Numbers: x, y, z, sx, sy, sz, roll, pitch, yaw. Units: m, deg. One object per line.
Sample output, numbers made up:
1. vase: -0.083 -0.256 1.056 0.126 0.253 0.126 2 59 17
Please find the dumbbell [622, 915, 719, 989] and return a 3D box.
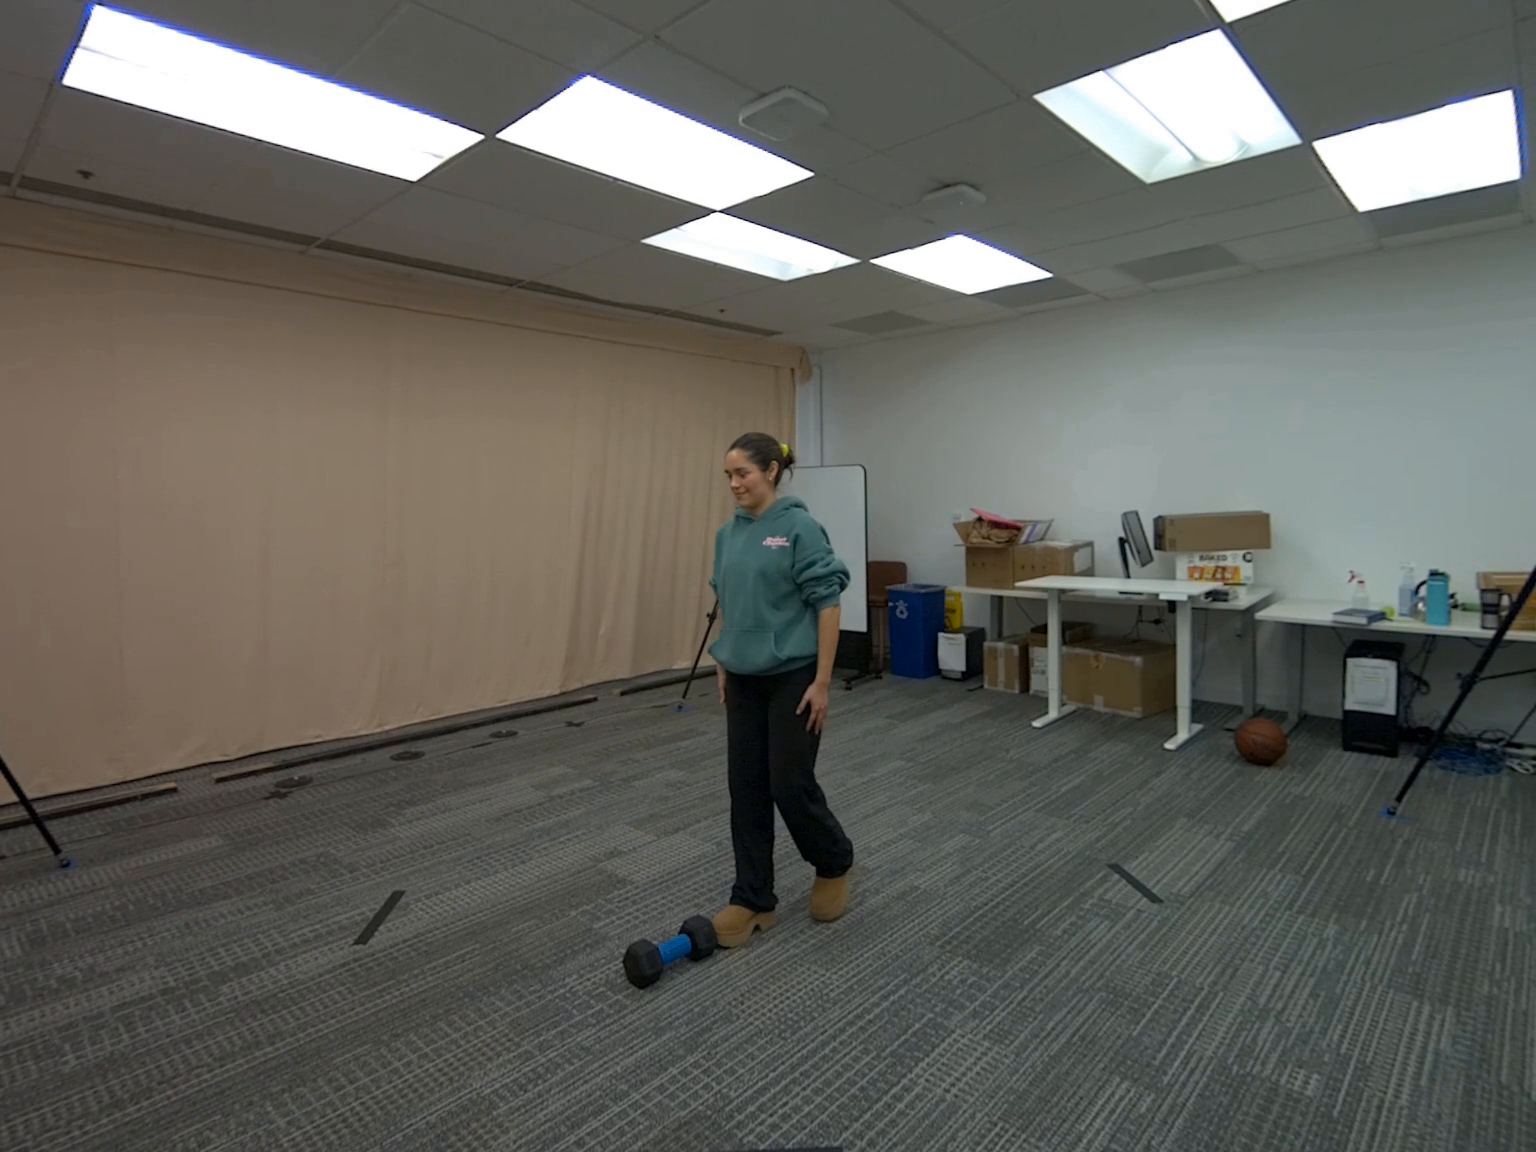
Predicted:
1. dumbbell: -0.293 1.132 2.532 0.285 0.122 0.112 -5 35 -43
